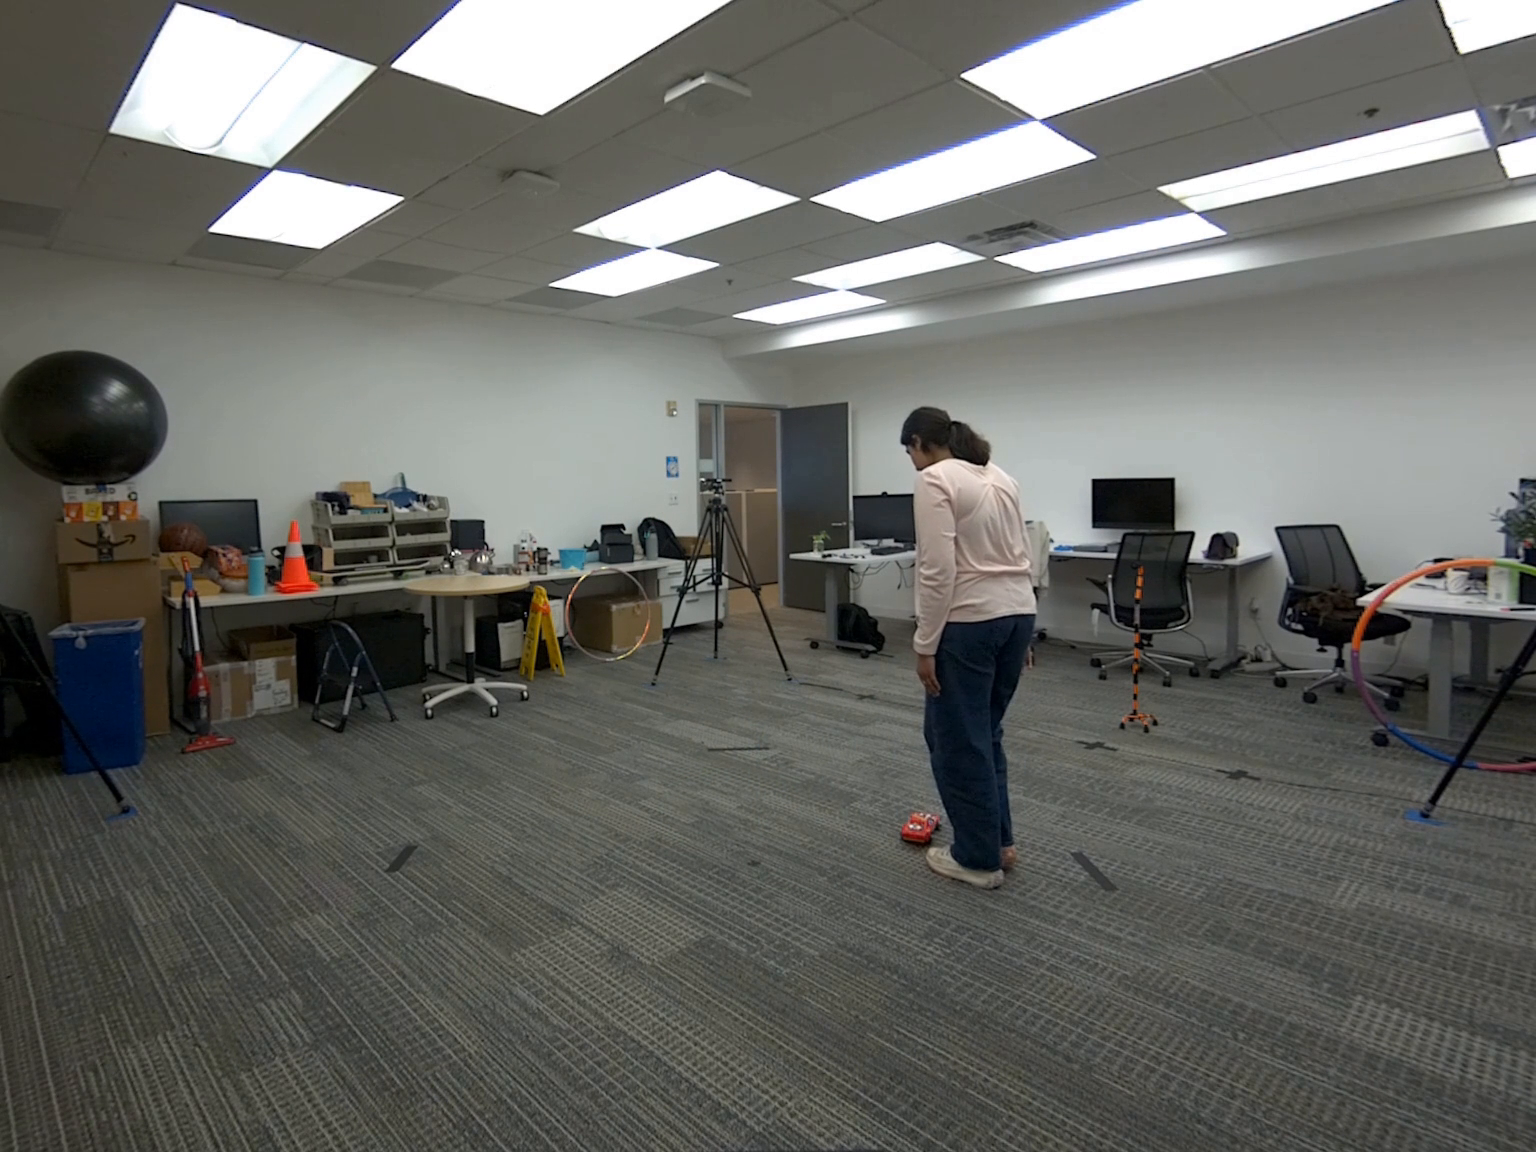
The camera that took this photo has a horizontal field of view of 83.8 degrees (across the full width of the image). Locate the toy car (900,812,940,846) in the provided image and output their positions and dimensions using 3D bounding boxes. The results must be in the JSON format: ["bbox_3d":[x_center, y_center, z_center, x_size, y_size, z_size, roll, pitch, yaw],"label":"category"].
[{"bbox_3d":[0.596,0.980,3.315,0.133,0.083,0.247,2,-4,24],"label":"toy car"}]
